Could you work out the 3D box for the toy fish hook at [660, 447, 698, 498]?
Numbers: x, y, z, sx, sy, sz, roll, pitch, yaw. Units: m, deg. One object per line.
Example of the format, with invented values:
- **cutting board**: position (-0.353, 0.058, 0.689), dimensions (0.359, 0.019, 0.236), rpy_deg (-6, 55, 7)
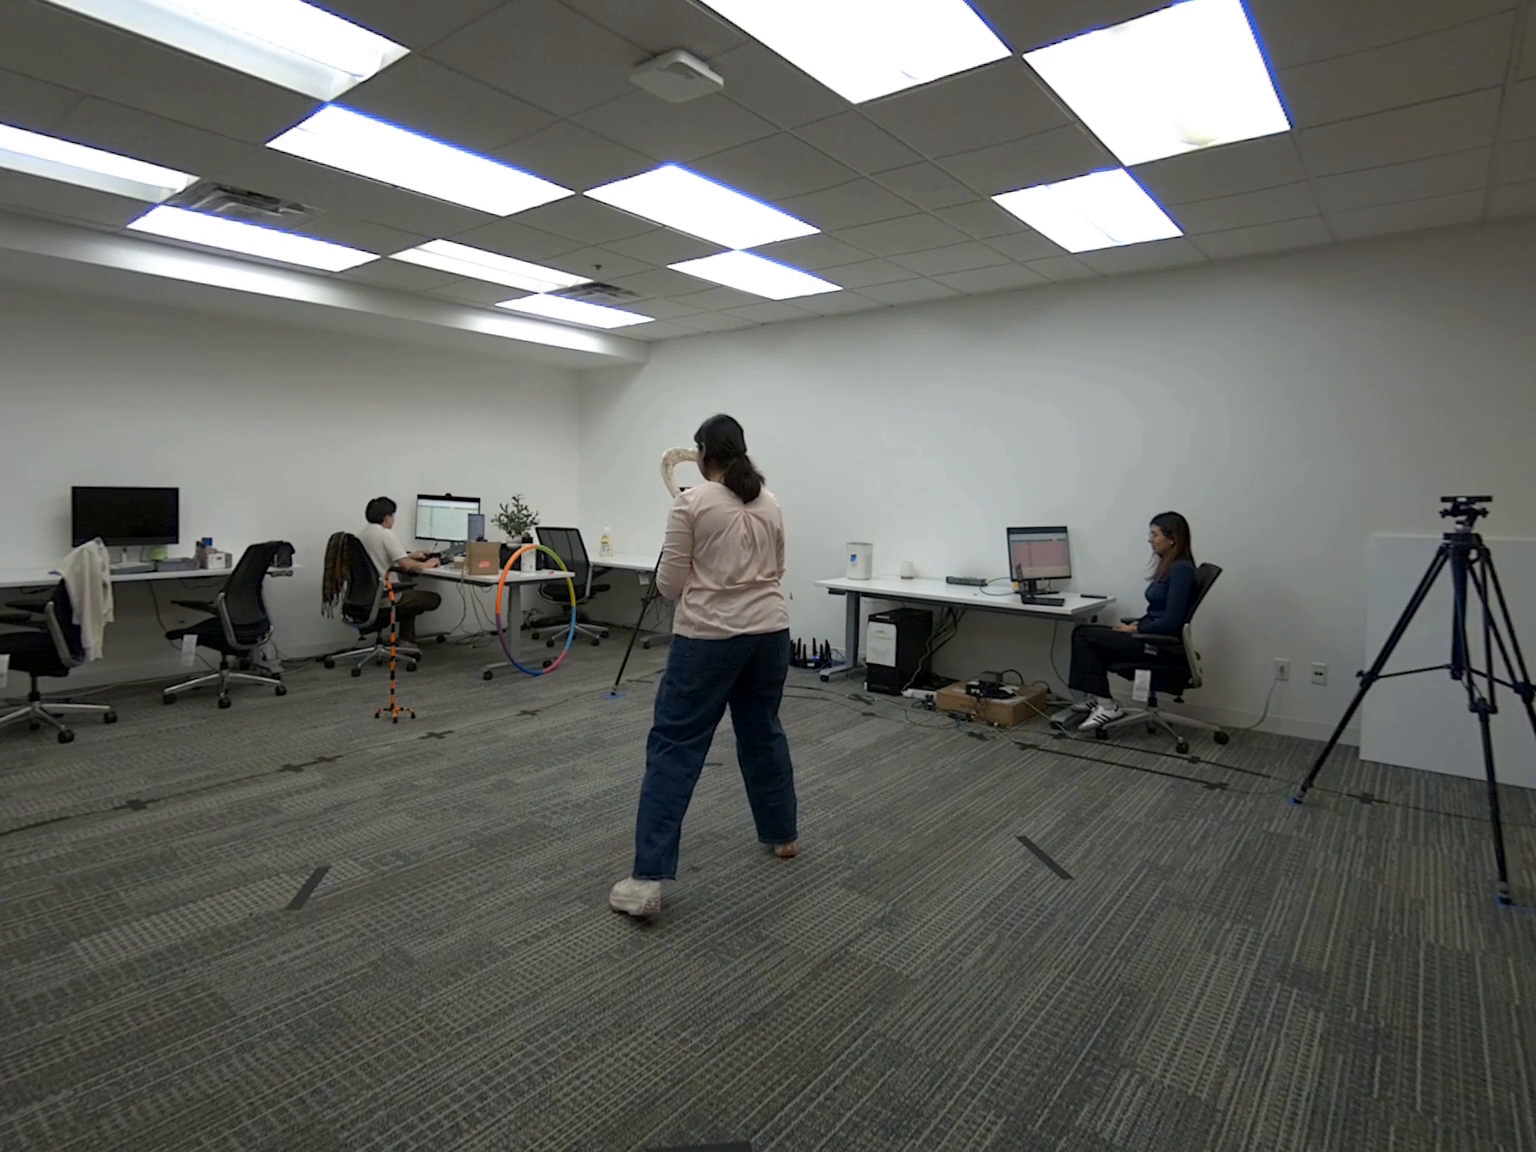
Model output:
- **toy fish hook**: position (-0.301, -0.309, 3.366), dimensions (0.221, 0.521, 0.048), rpy_deg (-2, -29, -17)
